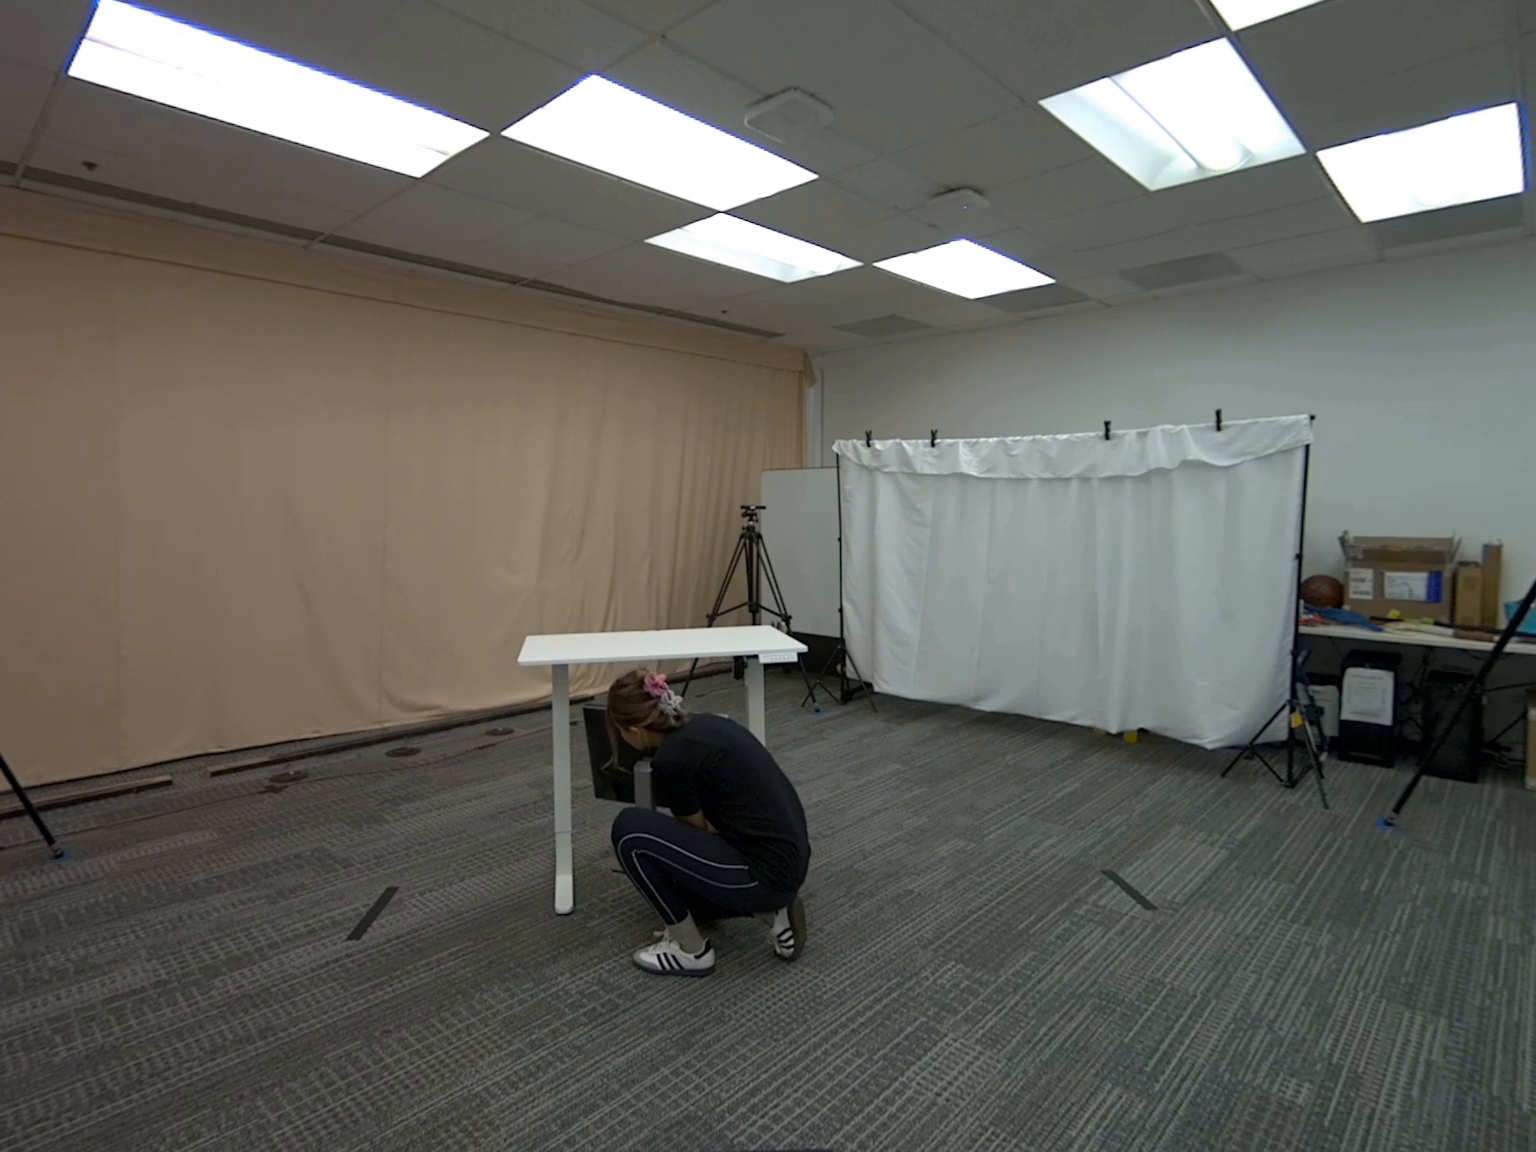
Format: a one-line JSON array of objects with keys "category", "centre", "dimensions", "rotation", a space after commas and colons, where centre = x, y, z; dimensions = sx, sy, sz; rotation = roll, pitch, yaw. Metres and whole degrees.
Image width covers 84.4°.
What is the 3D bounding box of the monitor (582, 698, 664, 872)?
[{"category": "monitor", "centre": [-0.396, 0.733, 2.899], "dimensions": [0.551, 0.522, 0.183], "rotation": [0, 1, 21]}]
